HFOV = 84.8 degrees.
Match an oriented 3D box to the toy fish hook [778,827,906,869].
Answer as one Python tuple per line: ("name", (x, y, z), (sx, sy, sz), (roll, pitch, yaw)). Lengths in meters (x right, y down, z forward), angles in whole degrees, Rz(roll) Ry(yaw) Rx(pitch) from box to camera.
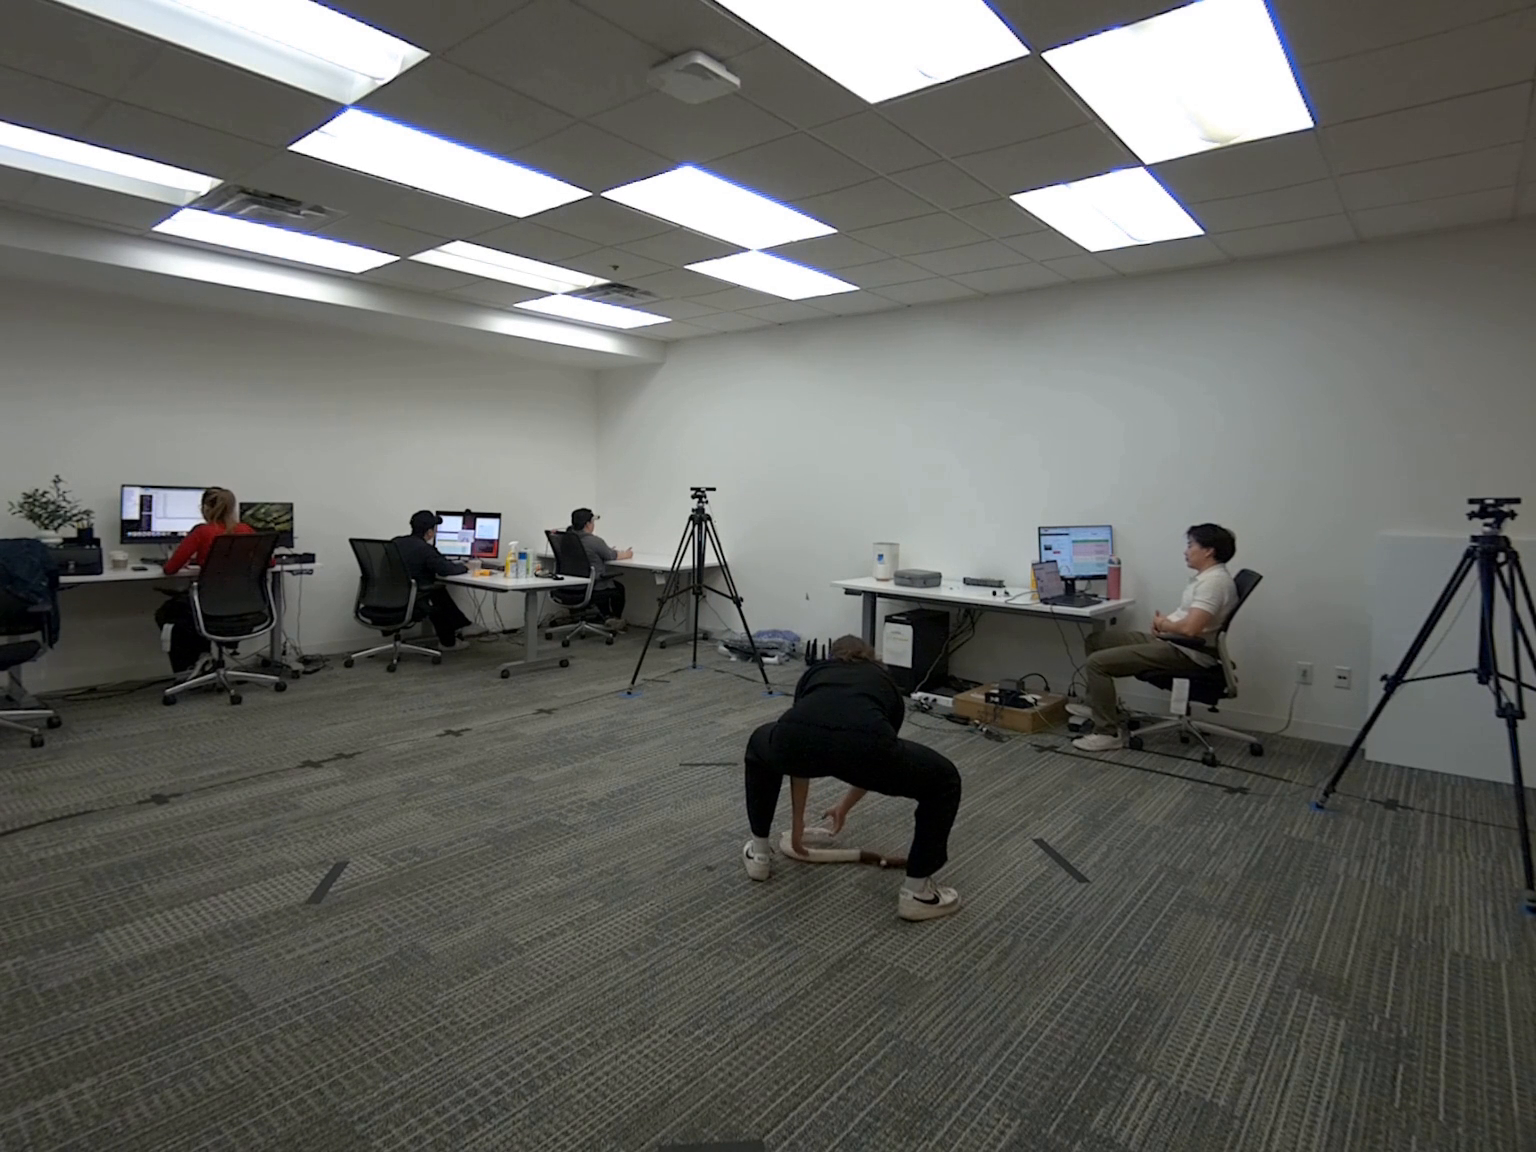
("toy fish hook", (0.291, 1.030, 3.255), (0.513, 0.047, 0.225), (3, 16, 11))
